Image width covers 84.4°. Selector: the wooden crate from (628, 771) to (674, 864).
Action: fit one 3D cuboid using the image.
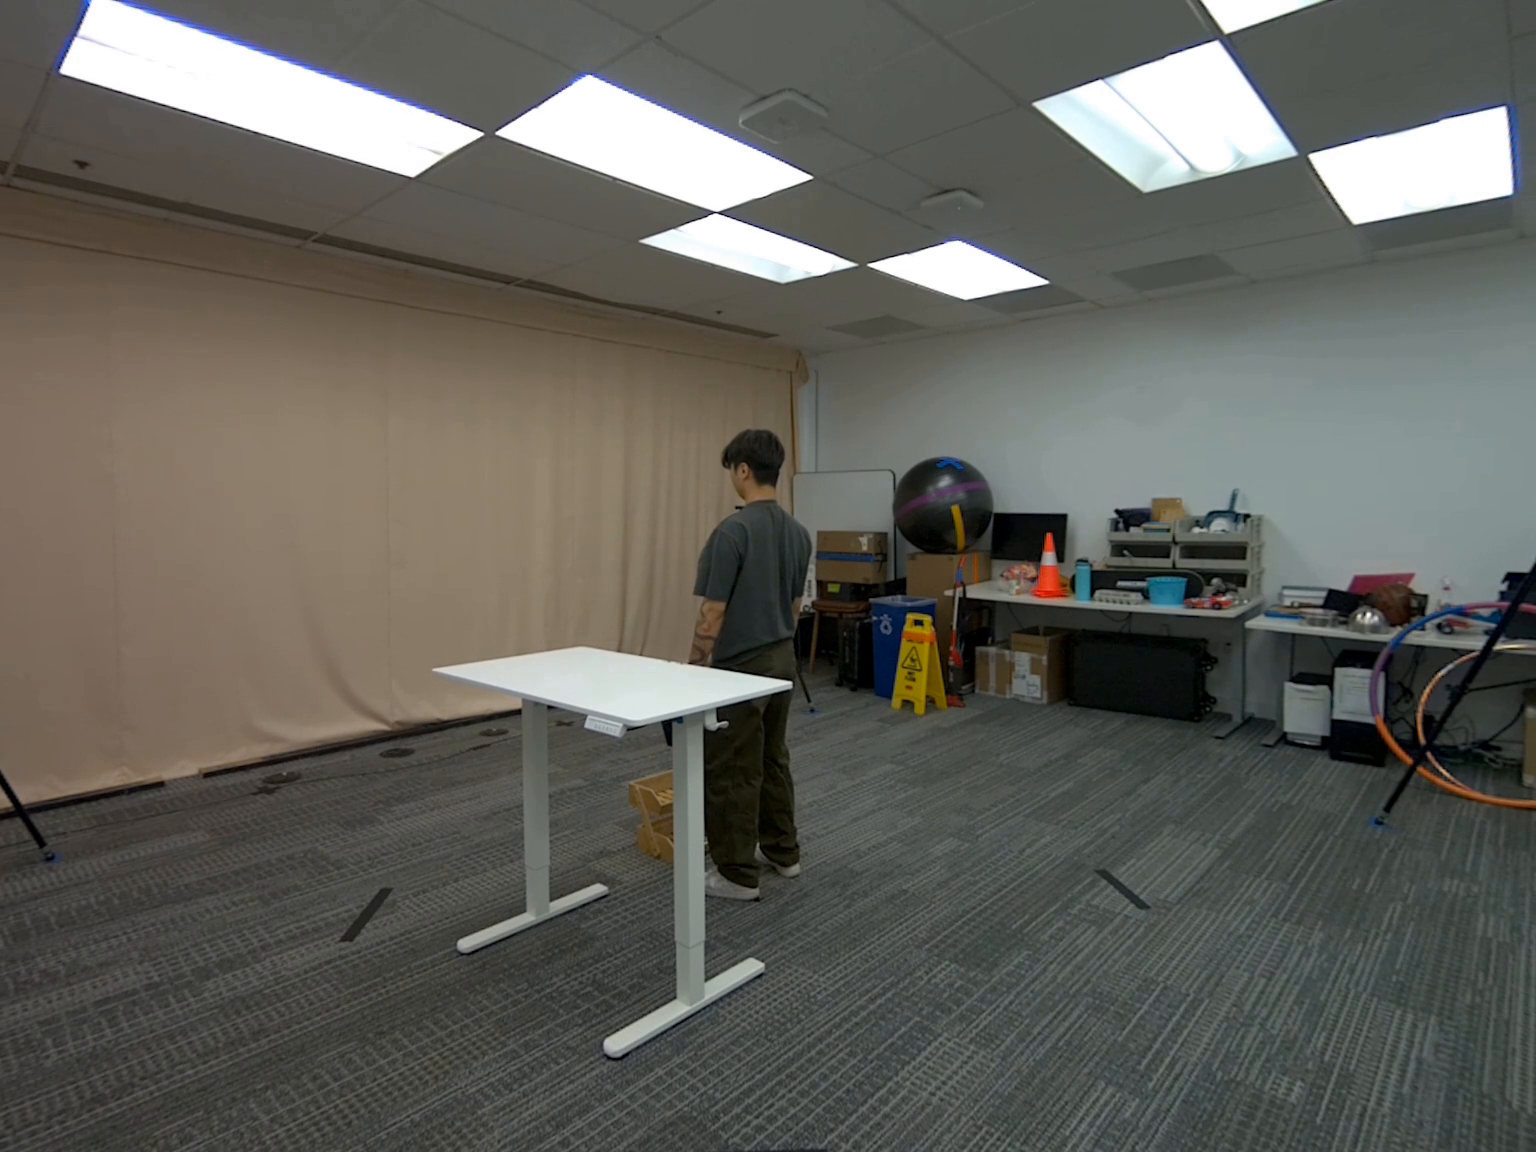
[{"bbox_3d":[-0.360,0.973,3.463,0.312,0.273,0.314,2,5,44],"label":"wooden crate"}]
